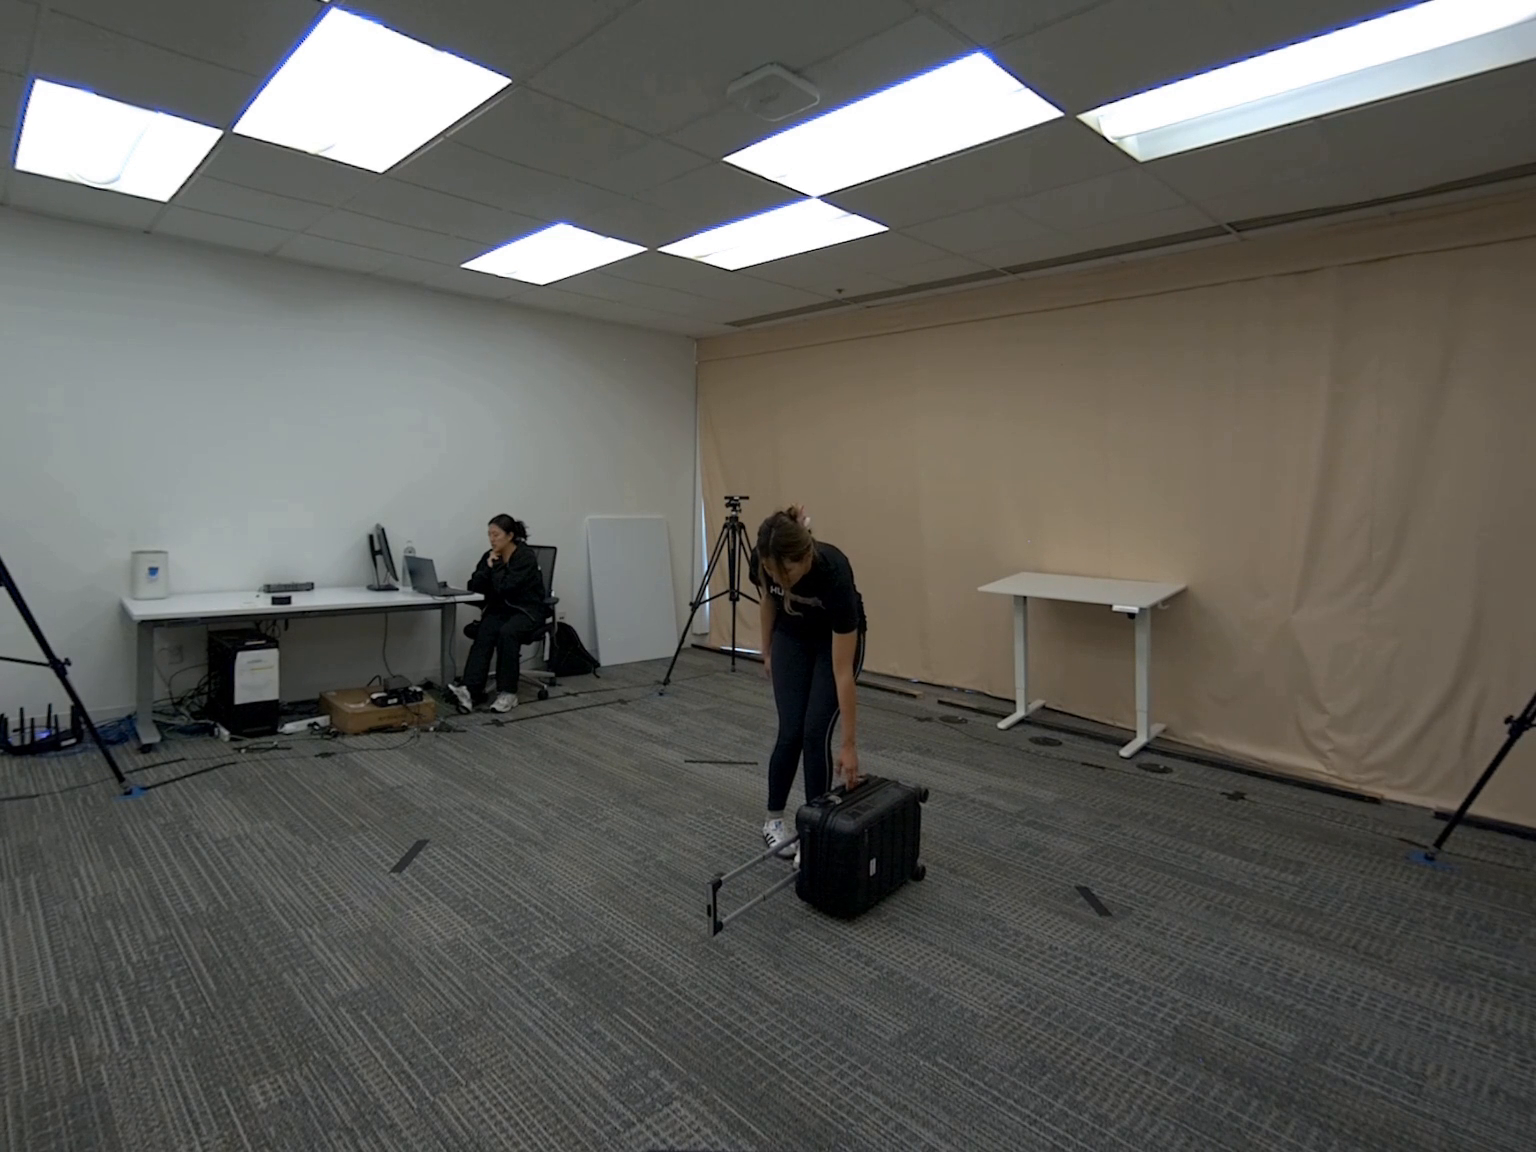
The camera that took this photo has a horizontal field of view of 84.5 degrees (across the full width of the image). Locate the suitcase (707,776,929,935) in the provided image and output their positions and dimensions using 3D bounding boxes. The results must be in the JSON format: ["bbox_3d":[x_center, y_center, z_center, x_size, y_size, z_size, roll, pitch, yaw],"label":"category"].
[{"bbox_3d":[0.204,0.951,2.806,0.263,0.383,0.958,5,6,36],"label":"suitcase"}]
